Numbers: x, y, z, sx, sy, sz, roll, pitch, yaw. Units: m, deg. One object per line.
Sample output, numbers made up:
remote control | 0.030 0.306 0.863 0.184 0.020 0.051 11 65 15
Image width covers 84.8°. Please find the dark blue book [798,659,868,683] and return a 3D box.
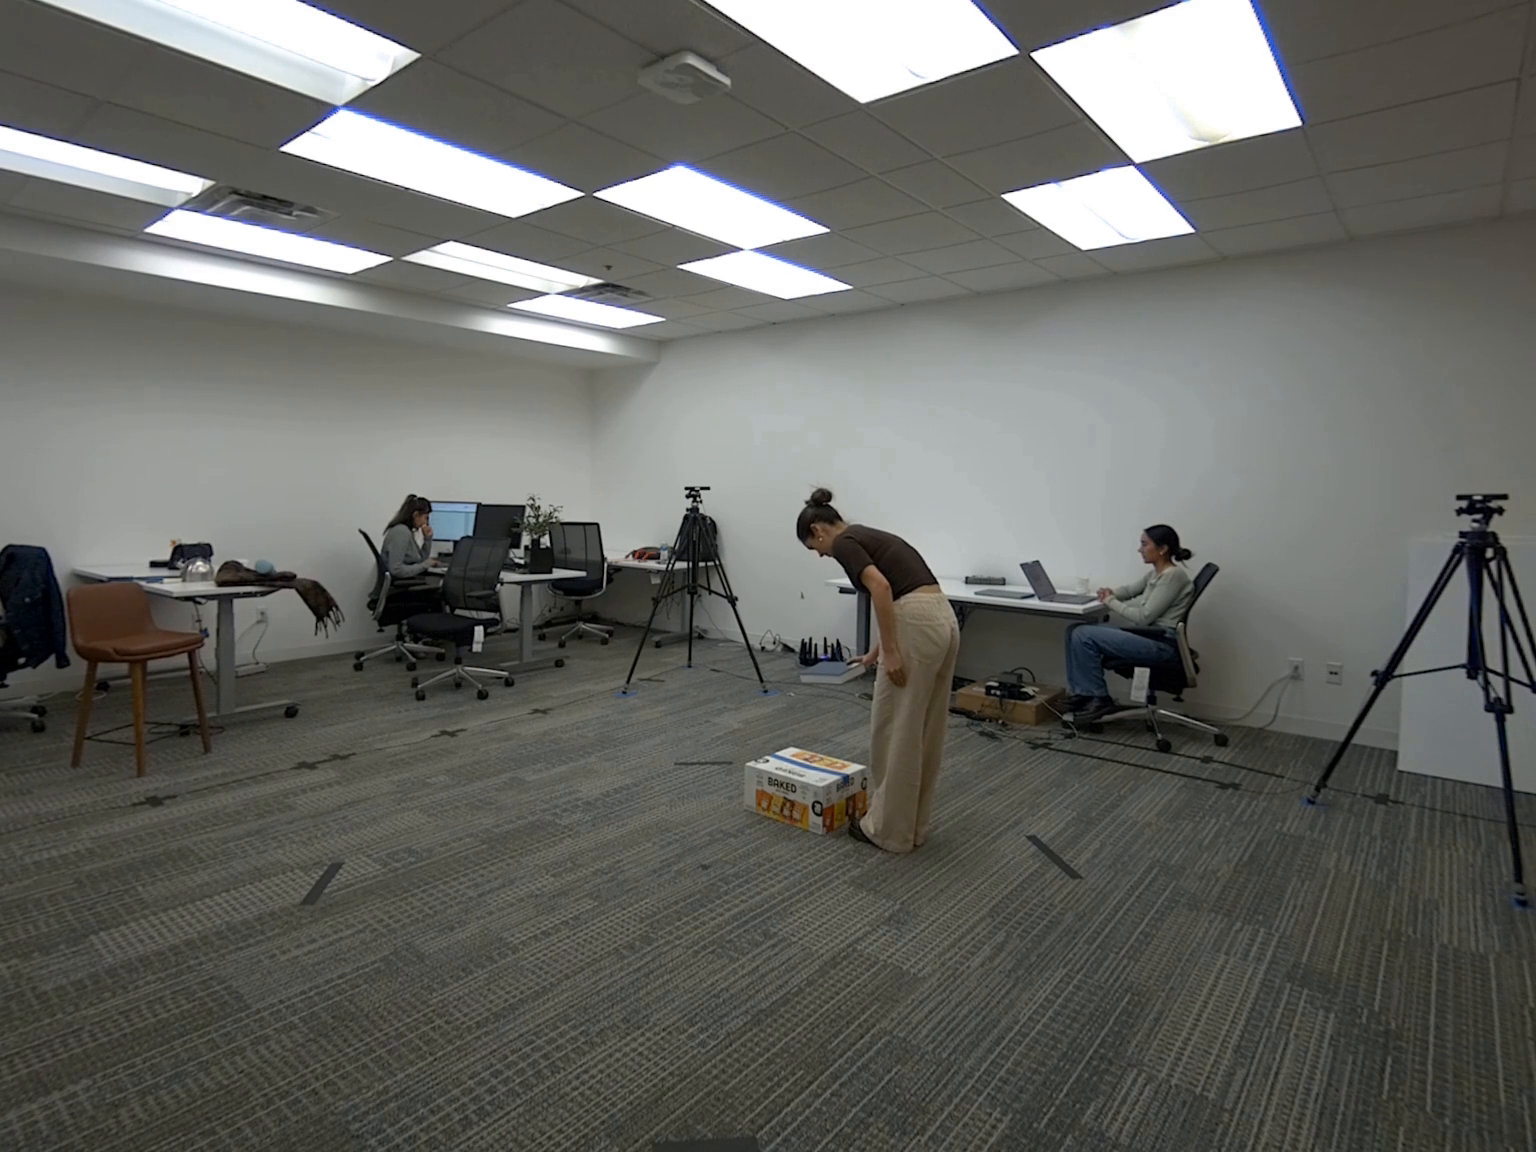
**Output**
dark blue book | 0.273 0.402 3.599 0.160 0.045 0.252 -17 8 -40
